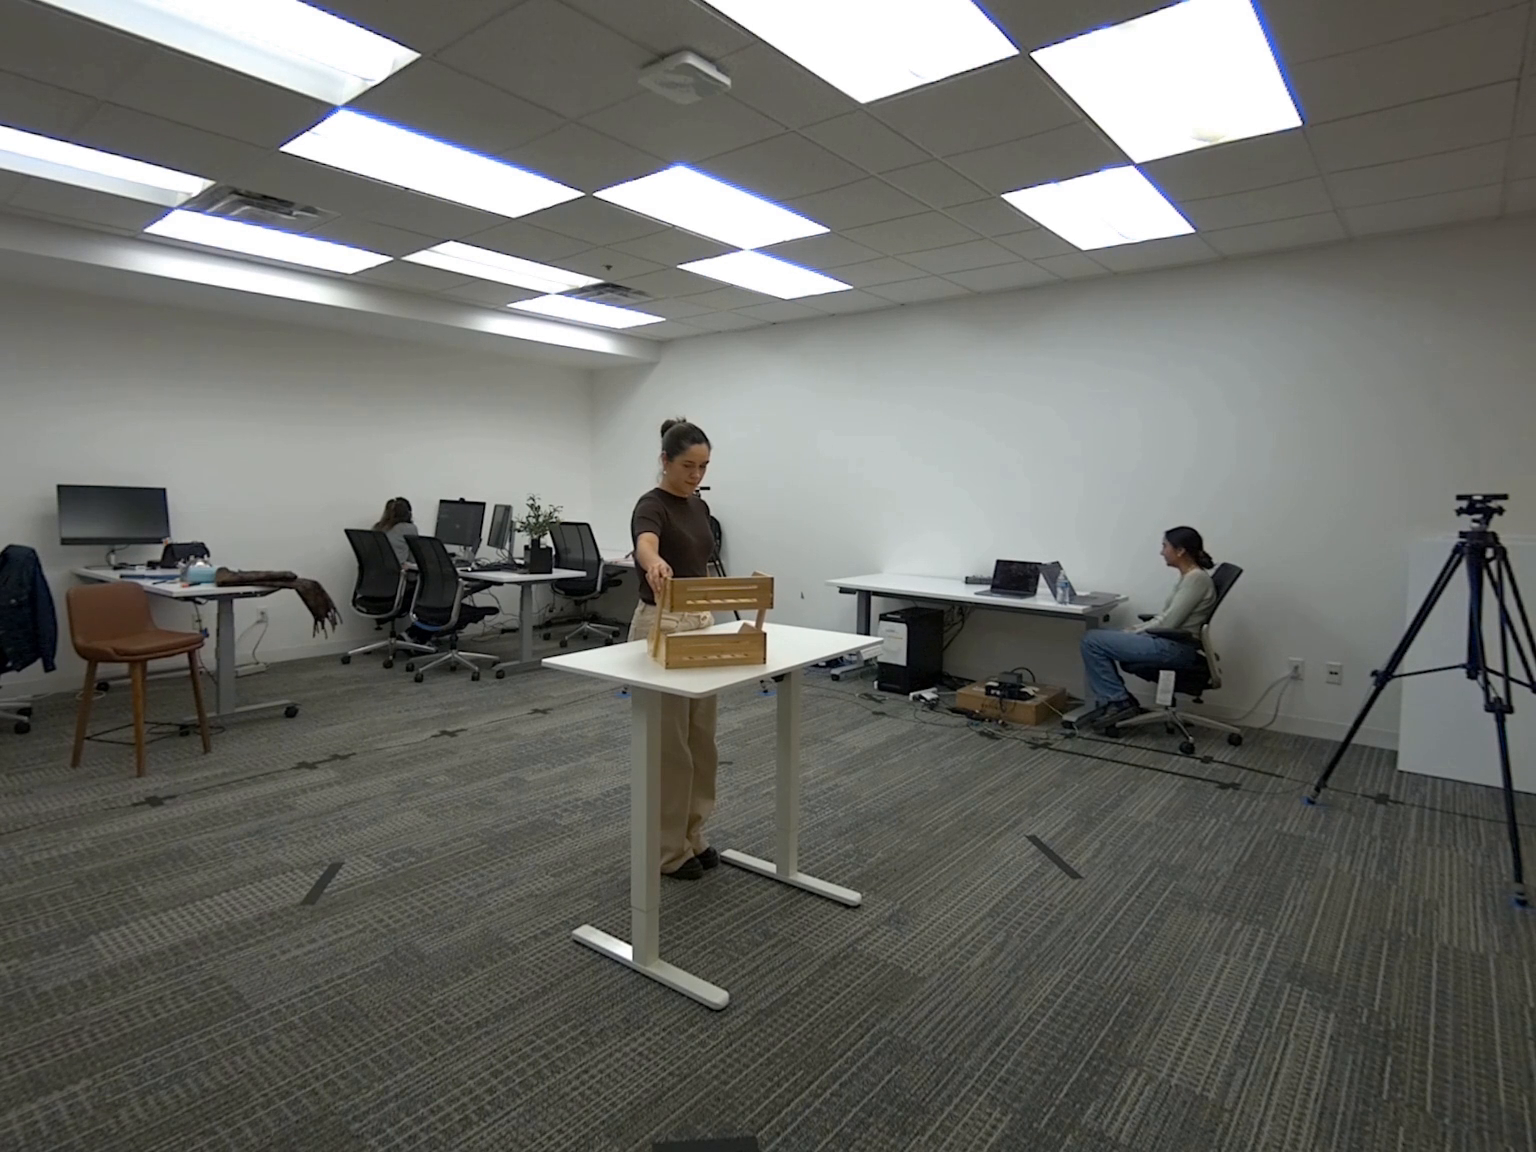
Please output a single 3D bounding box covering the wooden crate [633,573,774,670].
[{"bbox_3d":[-0.185,0.117,2.501,0.319,0.272,0.309,-3,6,-17],"label":"wooden crate"}]
